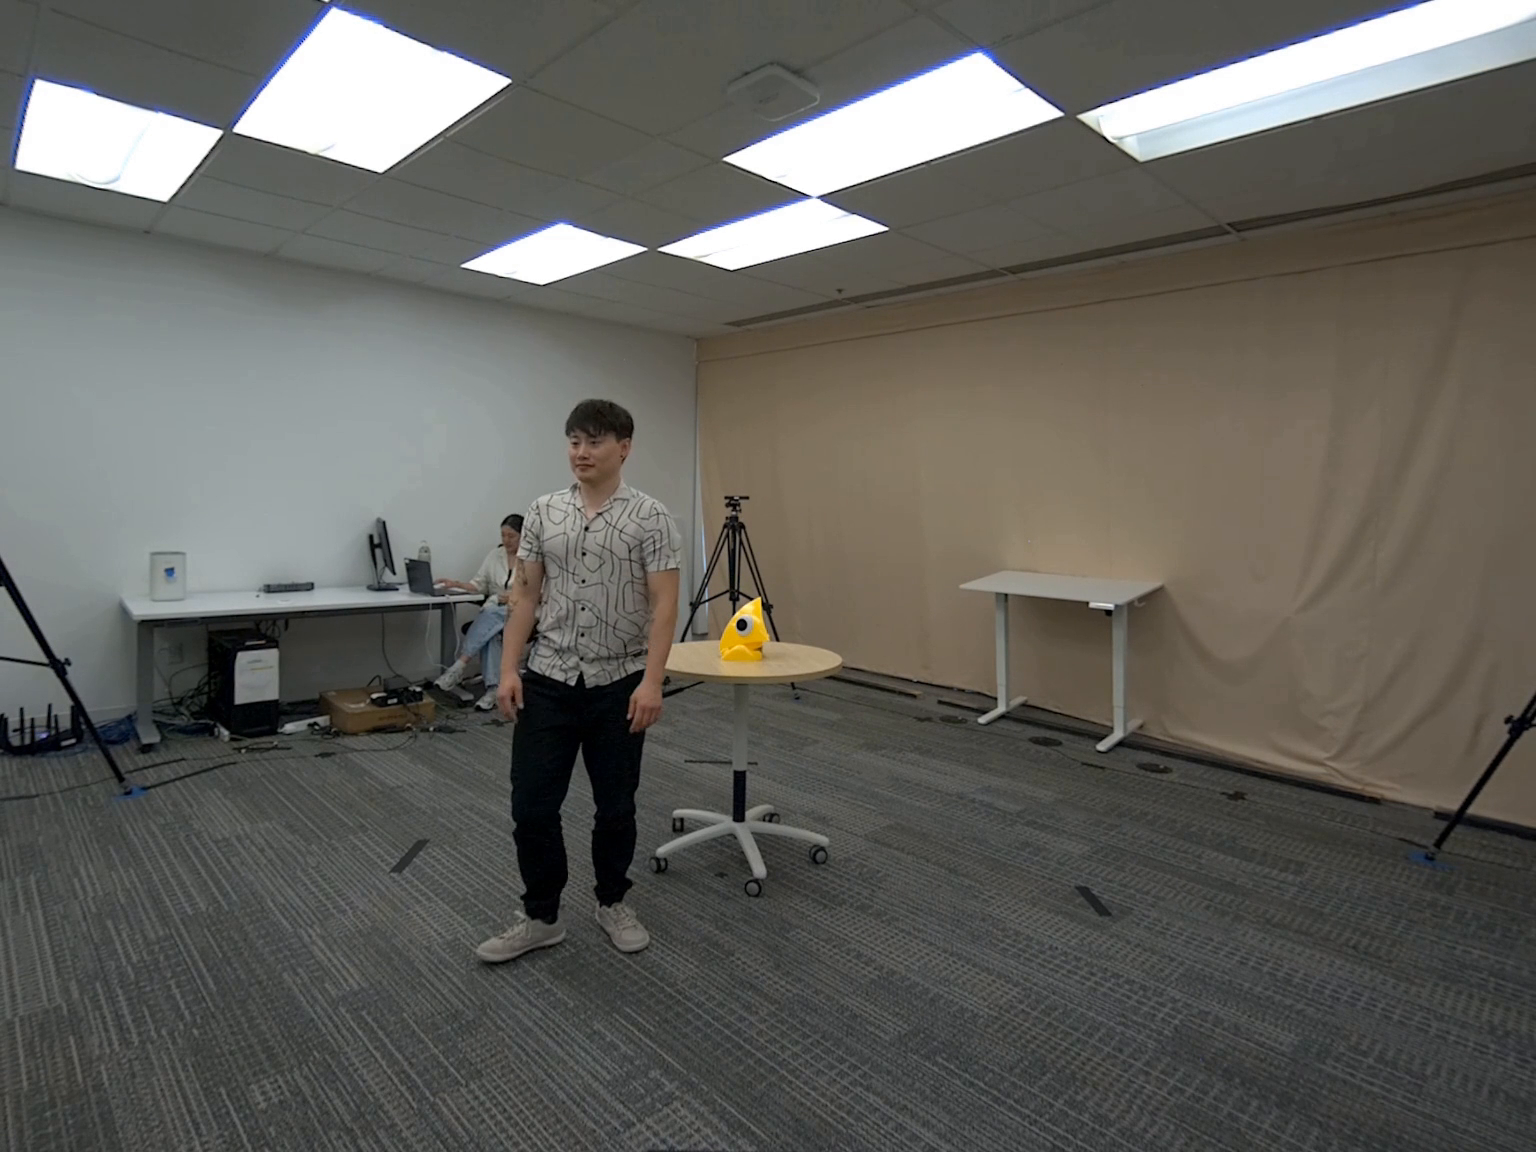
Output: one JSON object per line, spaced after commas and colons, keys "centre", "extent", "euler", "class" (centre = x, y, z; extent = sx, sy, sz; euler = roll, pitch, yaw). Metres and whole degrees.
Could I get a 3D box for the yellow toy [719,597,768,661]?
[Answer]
{"centre": [-0.099, 0.197, 3.225], "extent": [0.193, 0.230, 0.206], "euler": [1, 4, -3], "class": "yellow toy"}
